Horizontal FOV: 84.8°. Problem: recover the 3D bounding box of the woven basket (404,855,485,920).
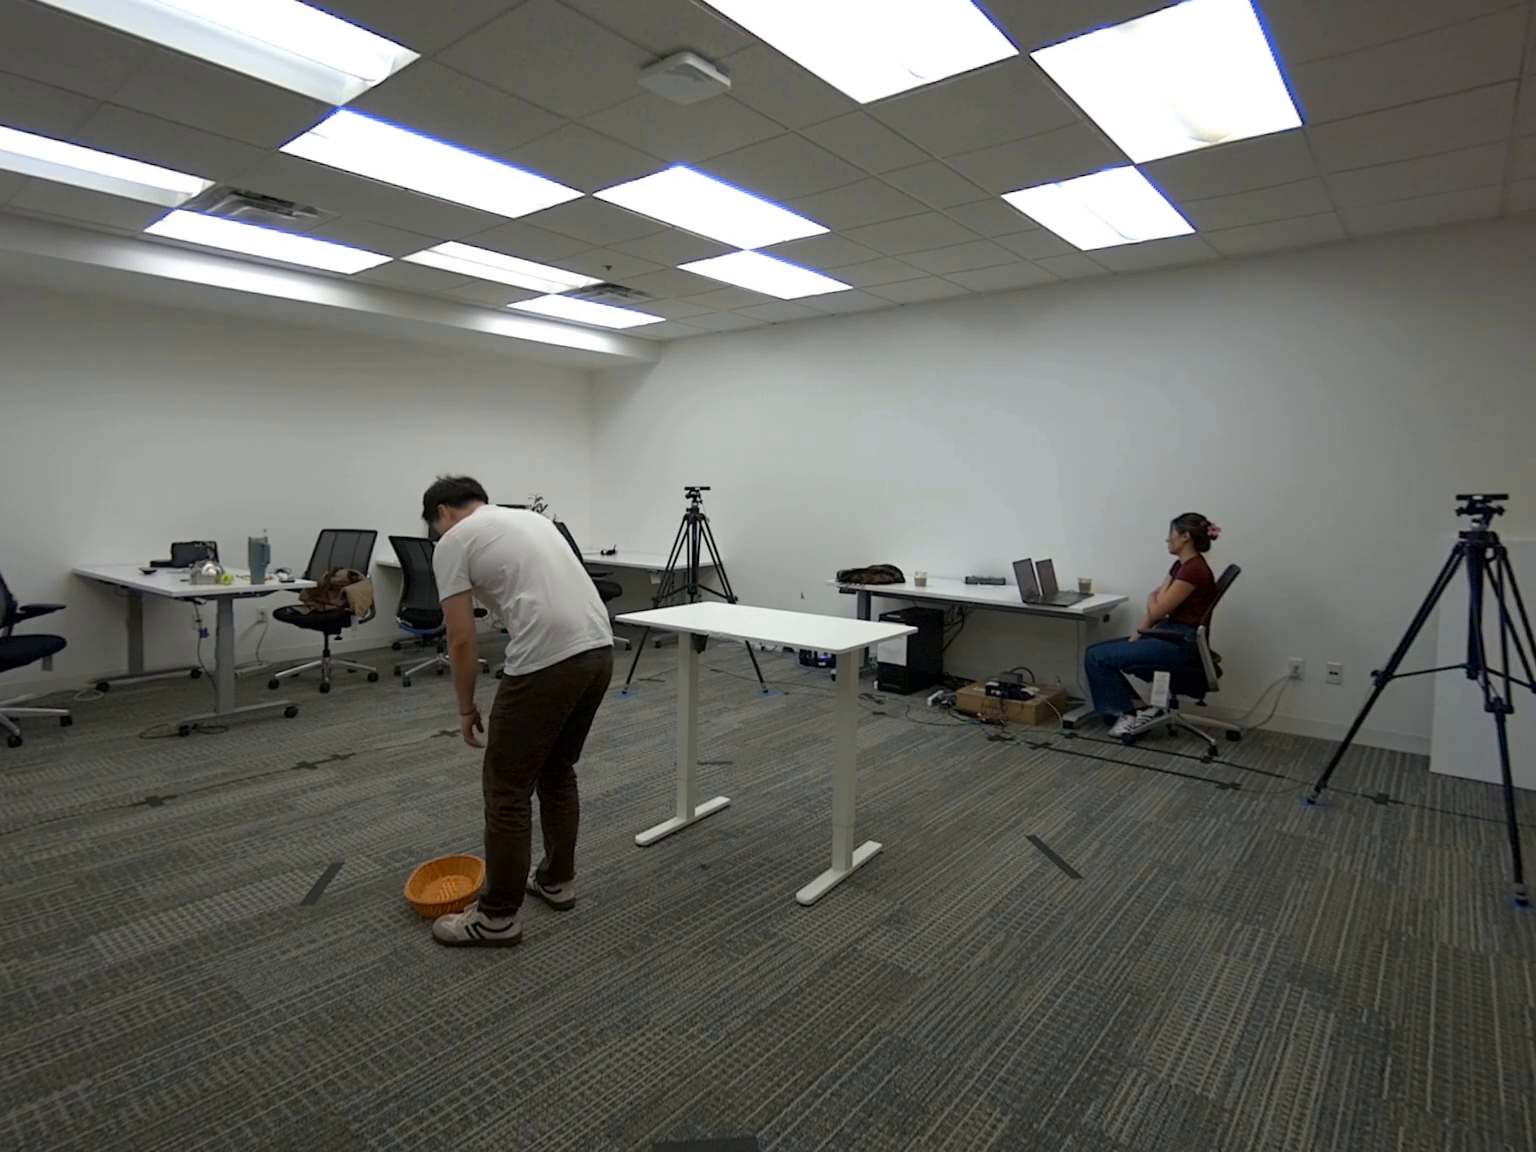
[{"bbox_3d":[-1.095,1.045,2.858,0.251,0.073,0.354,-1,6,-7],"label":"woven basket"}]
